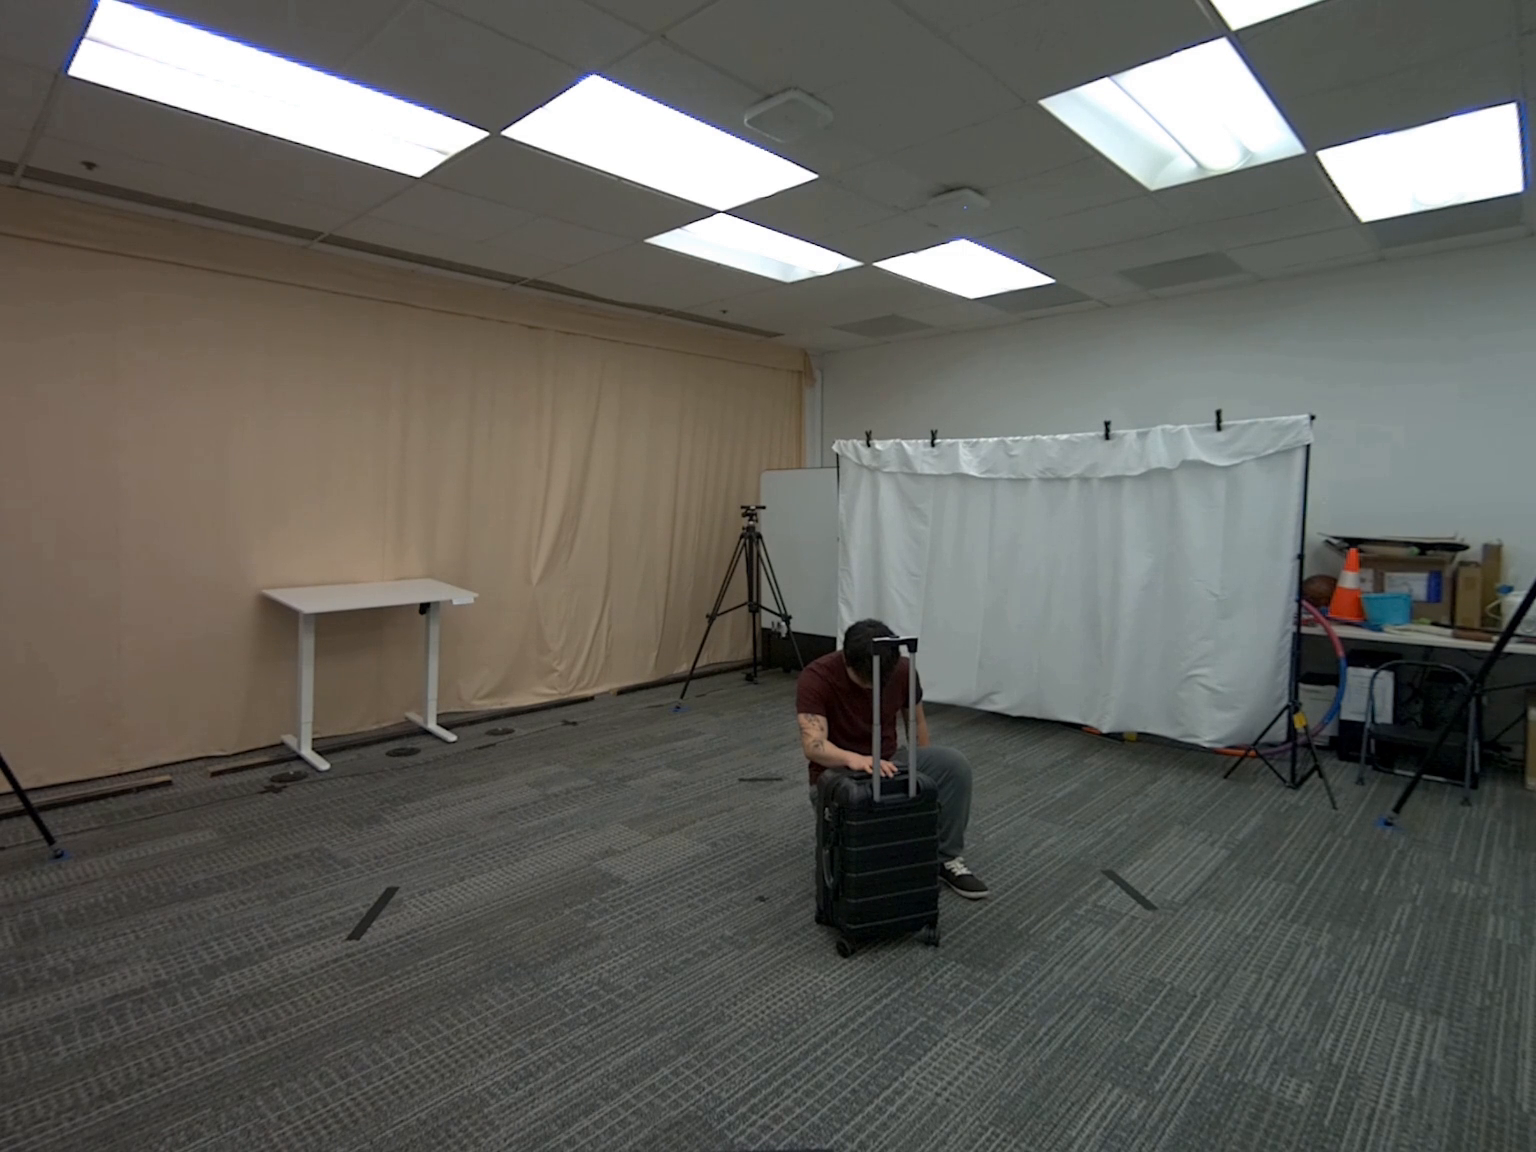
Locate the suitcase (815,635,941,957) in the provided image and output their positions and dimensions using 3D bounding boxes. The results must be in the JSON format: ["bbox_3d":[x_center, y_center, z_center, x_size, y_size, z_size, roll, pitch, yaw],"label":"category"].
[{"bbox_3d":[0.351,0.684,2.717,0.377,0.977,0.262,0,2,-17],"label":"suitcase"}]
